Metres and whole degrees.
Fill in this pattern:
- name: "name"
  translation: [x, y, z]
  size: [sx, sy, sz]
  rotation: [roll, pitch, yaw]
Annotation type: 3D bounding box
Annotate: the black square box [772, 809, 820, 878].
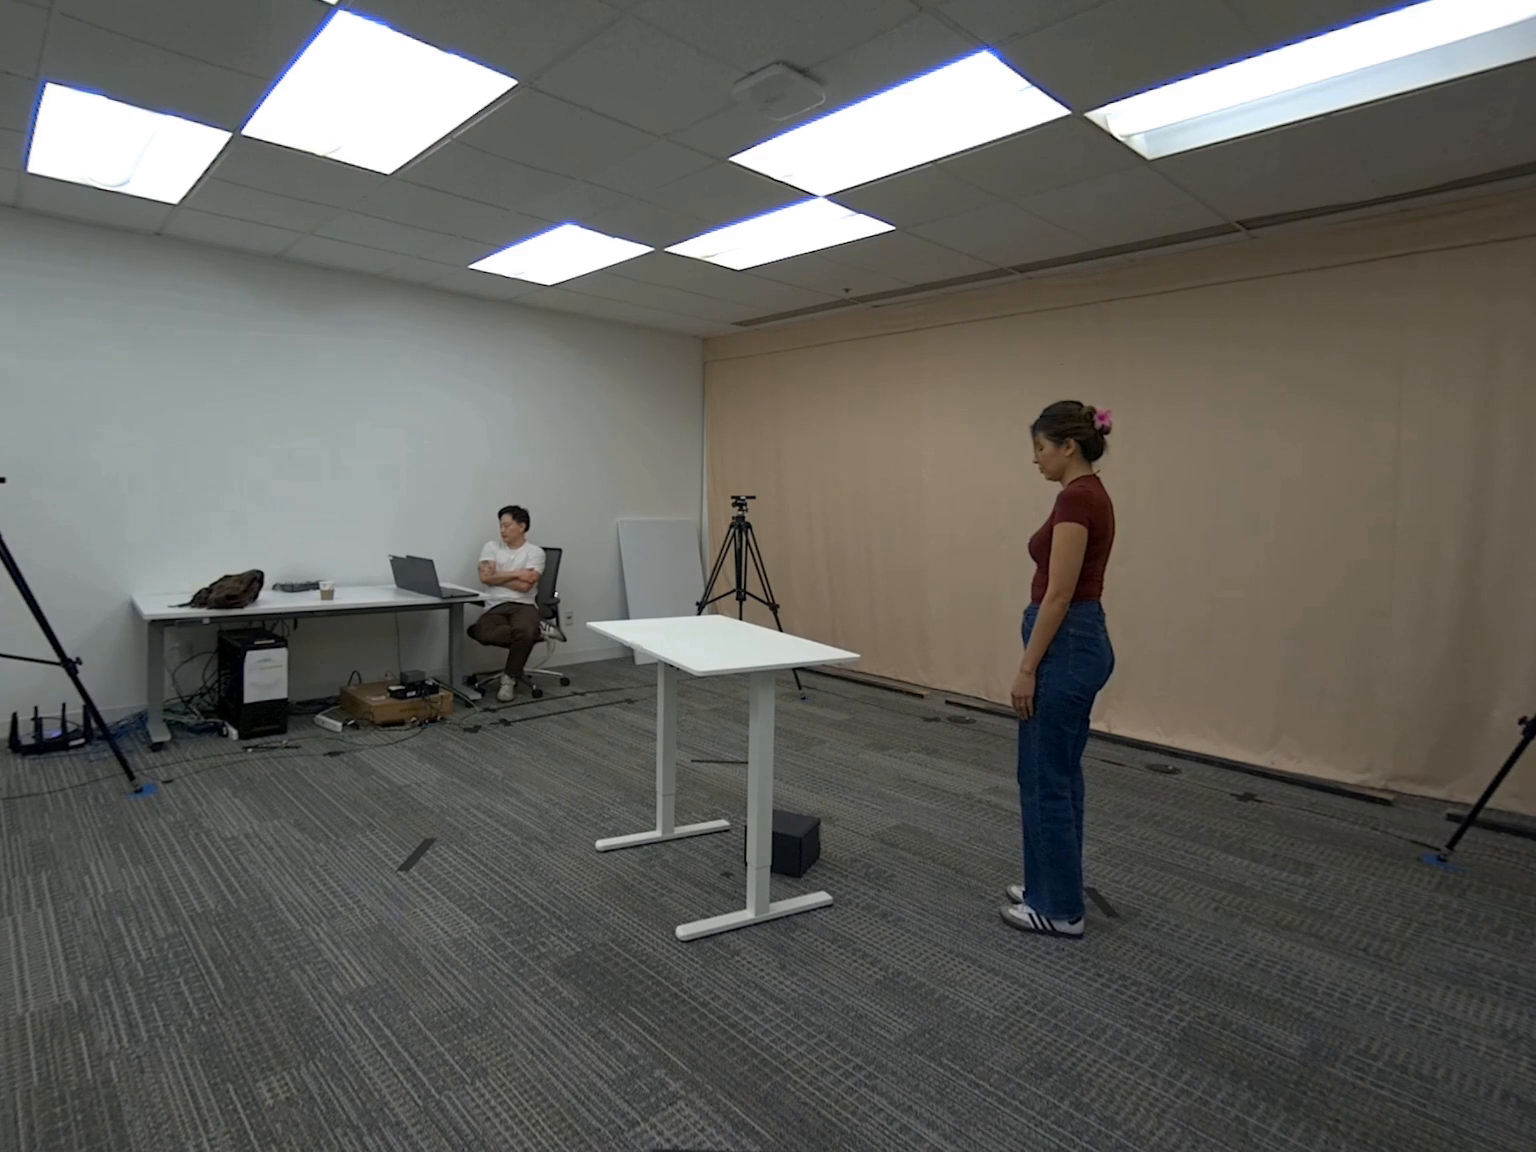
- name: "black square box"
  translation: [0.052, 1.010, 3.214]
  size: [0.232, 0.155, 0.213]
  rotation: [3, 4, 25]
